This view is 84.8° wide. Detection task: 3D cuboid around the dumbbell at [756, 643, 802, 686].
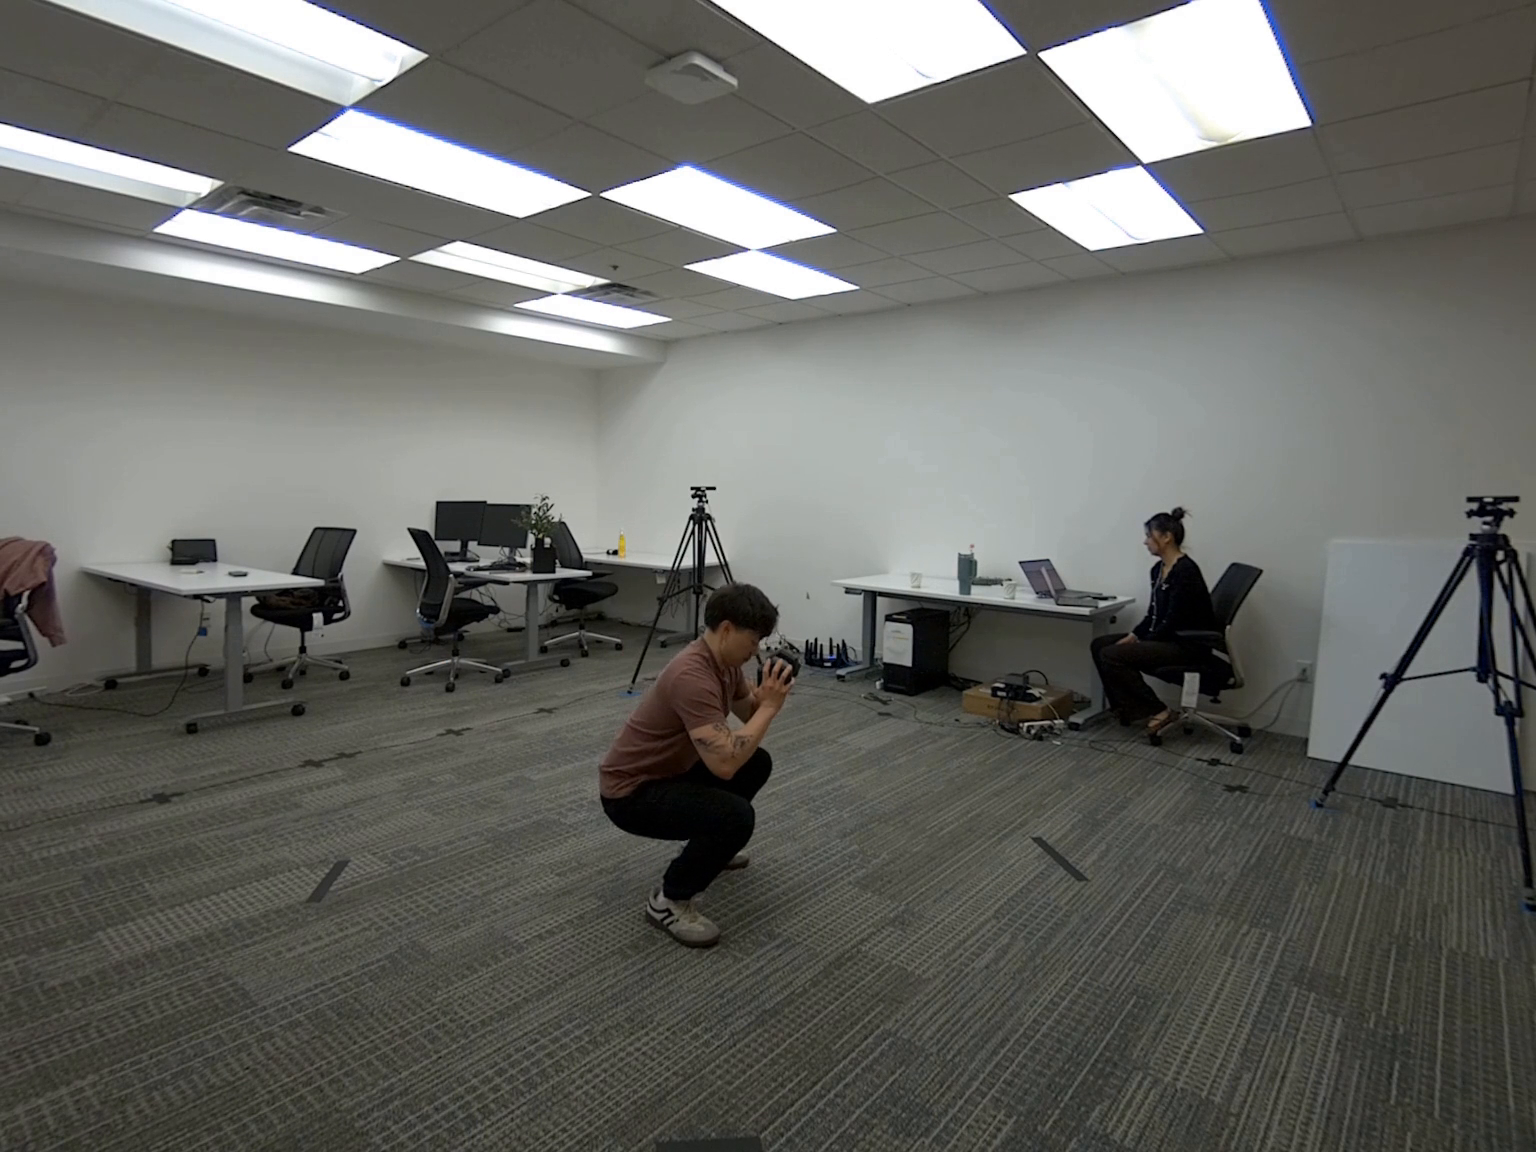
[{"bbox_3d":[0.026,0.303,2.805,0.123,0.109,0.292,-32,0,6],"label":"dumbbell"}]
